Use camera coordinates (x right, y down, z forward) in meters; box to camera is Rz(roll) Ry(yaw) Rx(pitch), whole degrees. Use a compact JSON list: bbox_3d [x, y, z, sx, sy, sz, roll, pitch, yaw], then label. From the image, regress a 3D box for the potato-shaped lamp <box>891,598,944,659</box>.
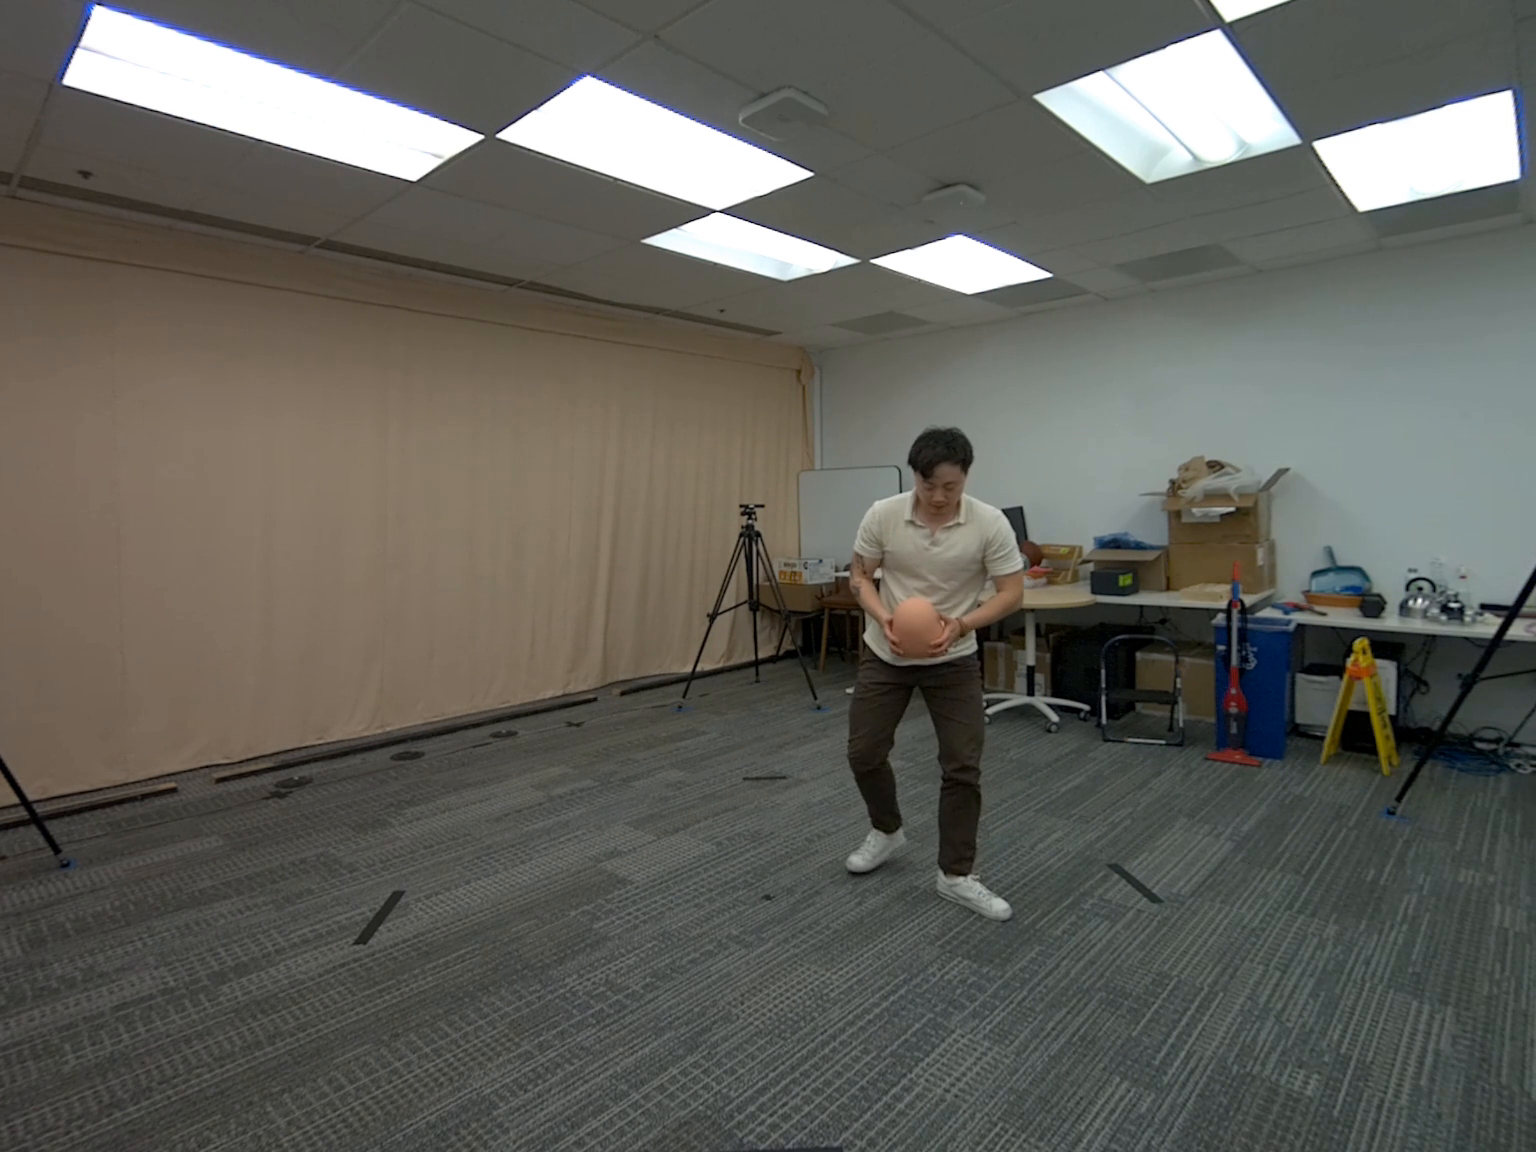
[{"bbox_3d":[0.483,0.171,2.740,0.168,0.195,0.171,-1,24,17],"label":"potato-shaped lamp"}]
